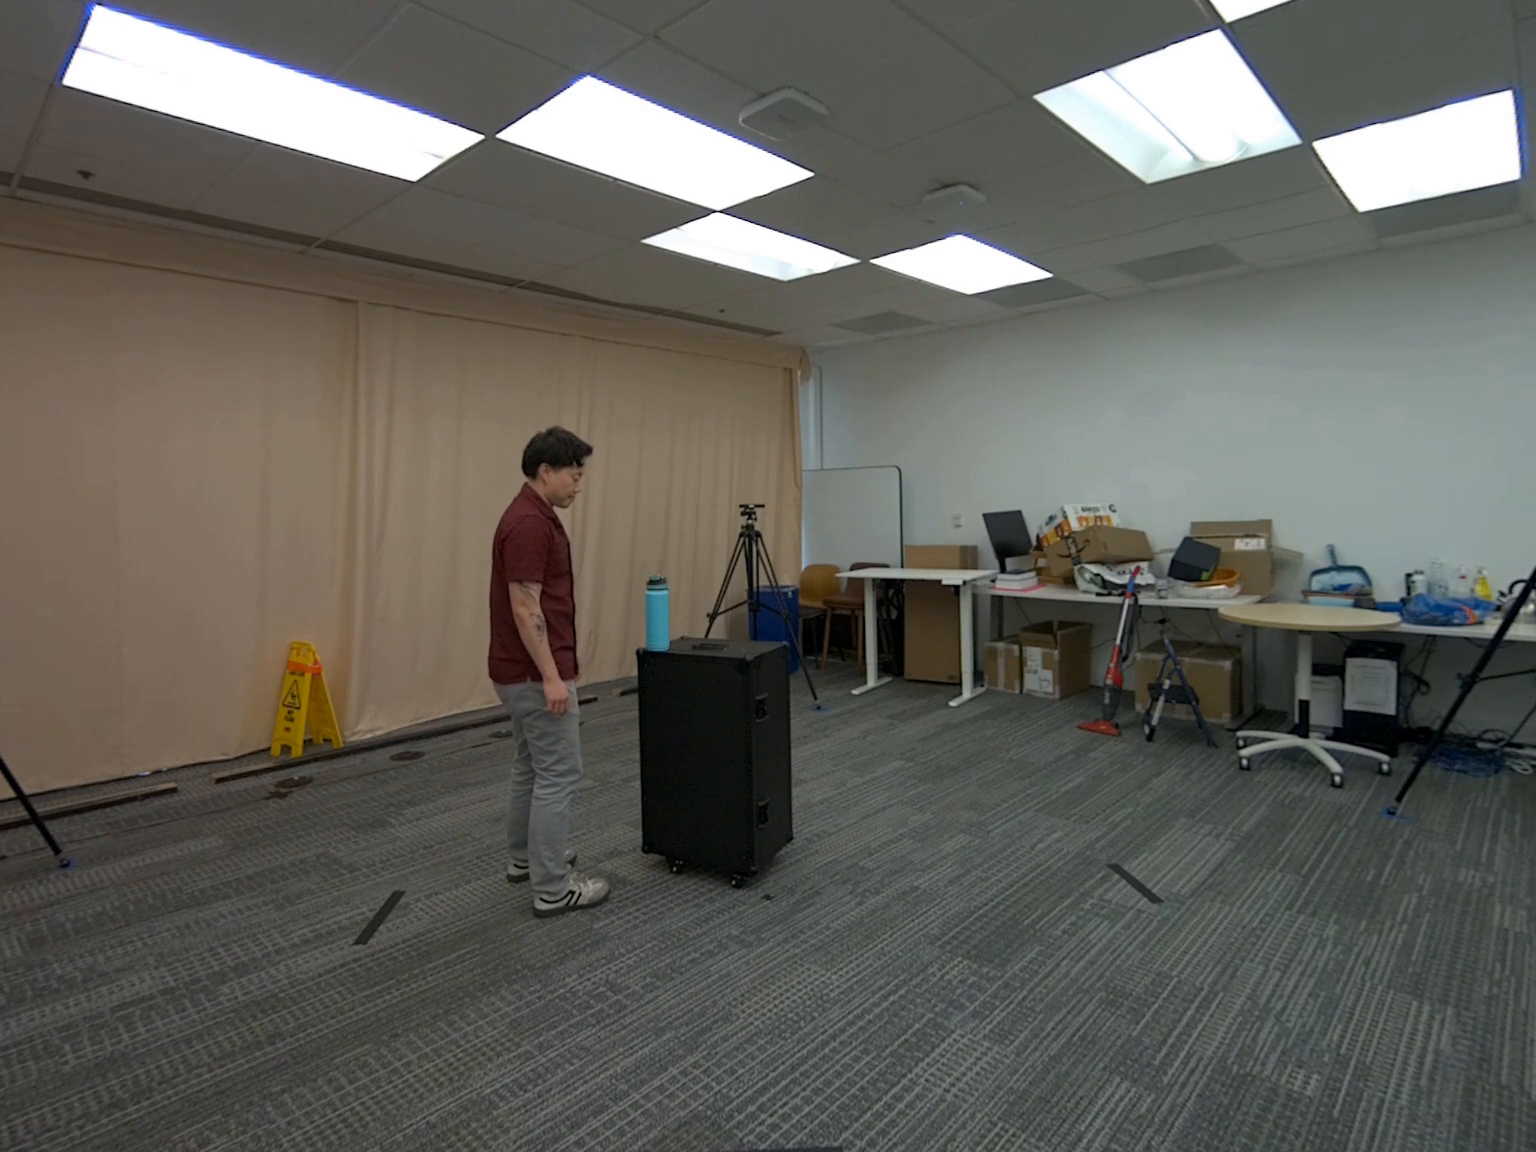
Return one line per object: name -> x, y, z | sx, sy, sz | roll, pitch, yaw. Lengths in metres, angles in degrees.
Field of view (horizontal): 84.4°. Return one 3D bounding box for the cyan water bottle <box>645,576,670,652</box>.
cyan water bottle -> -0.420, 0.137, 3.184 | 0.092, 0.283, 0.093 | 1, 4, -2
